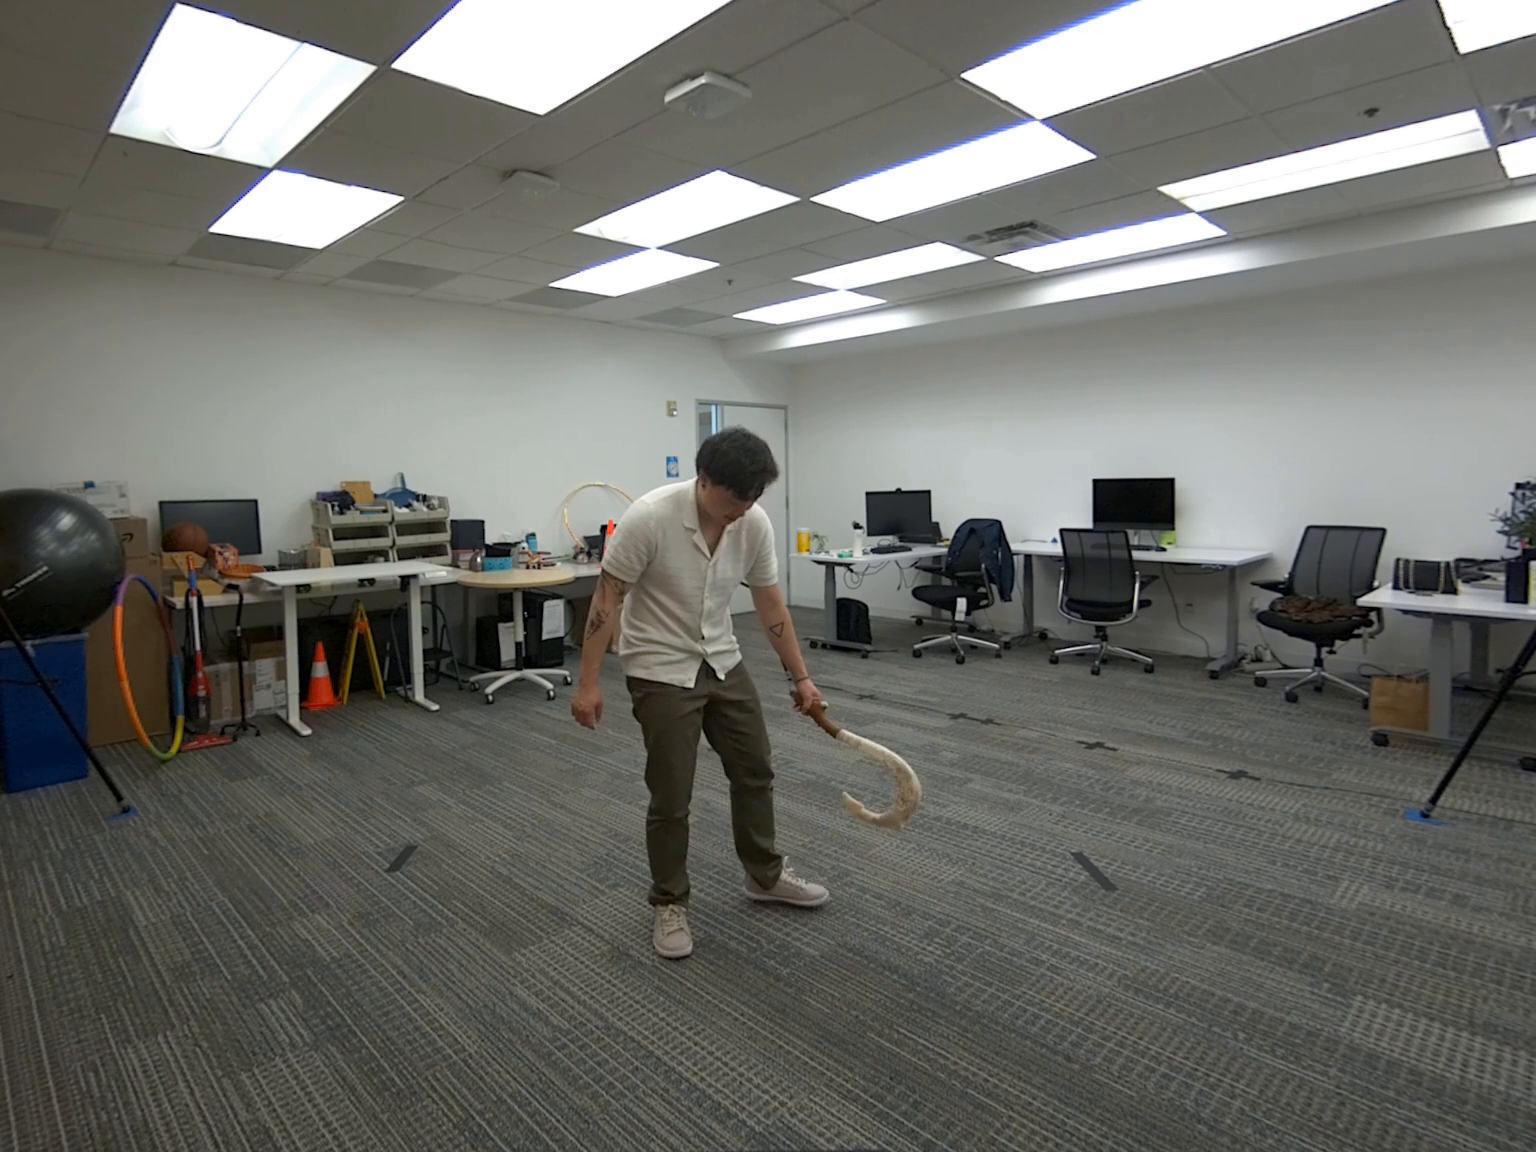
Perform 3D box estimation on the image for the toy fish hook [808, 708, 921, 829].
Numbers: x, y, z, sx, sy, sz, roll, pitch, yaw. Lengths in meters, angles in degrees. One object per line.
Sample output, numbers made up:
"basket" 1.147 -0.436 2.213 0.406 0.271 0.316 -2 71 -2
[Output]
"toy fish hook" 0.238 0.549 2.564 0.524 0.224 0.047 39 9 28
